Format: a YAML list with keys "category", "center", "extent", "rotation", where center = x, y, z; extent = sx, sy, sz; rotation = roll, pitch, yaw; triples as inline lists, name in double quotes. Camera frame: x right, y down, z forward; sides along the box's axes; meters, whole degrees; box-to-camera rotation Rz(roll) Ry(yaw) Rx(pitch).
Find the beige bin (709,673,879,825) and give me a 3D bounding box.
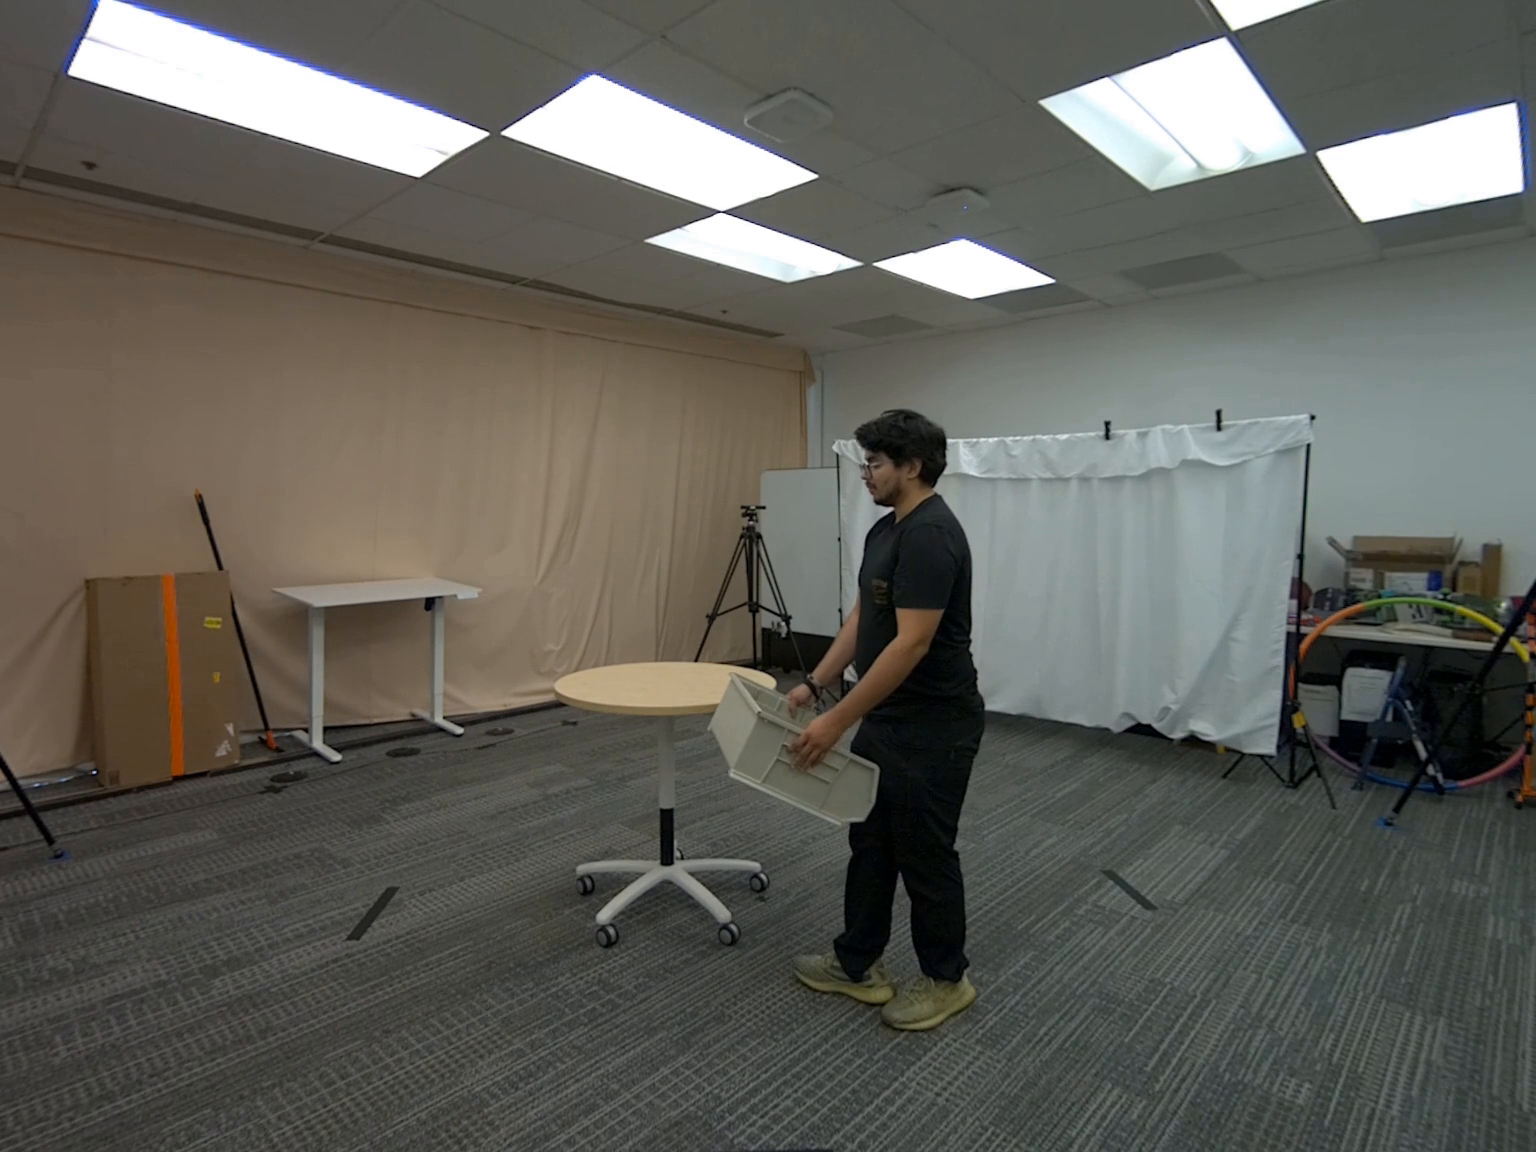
- category: "beige bin"
  center: [0.063, 0.460, 2.266]
  extent: [0.372, 0.189, 0.428]
  rotation: [26, 2, -12]
